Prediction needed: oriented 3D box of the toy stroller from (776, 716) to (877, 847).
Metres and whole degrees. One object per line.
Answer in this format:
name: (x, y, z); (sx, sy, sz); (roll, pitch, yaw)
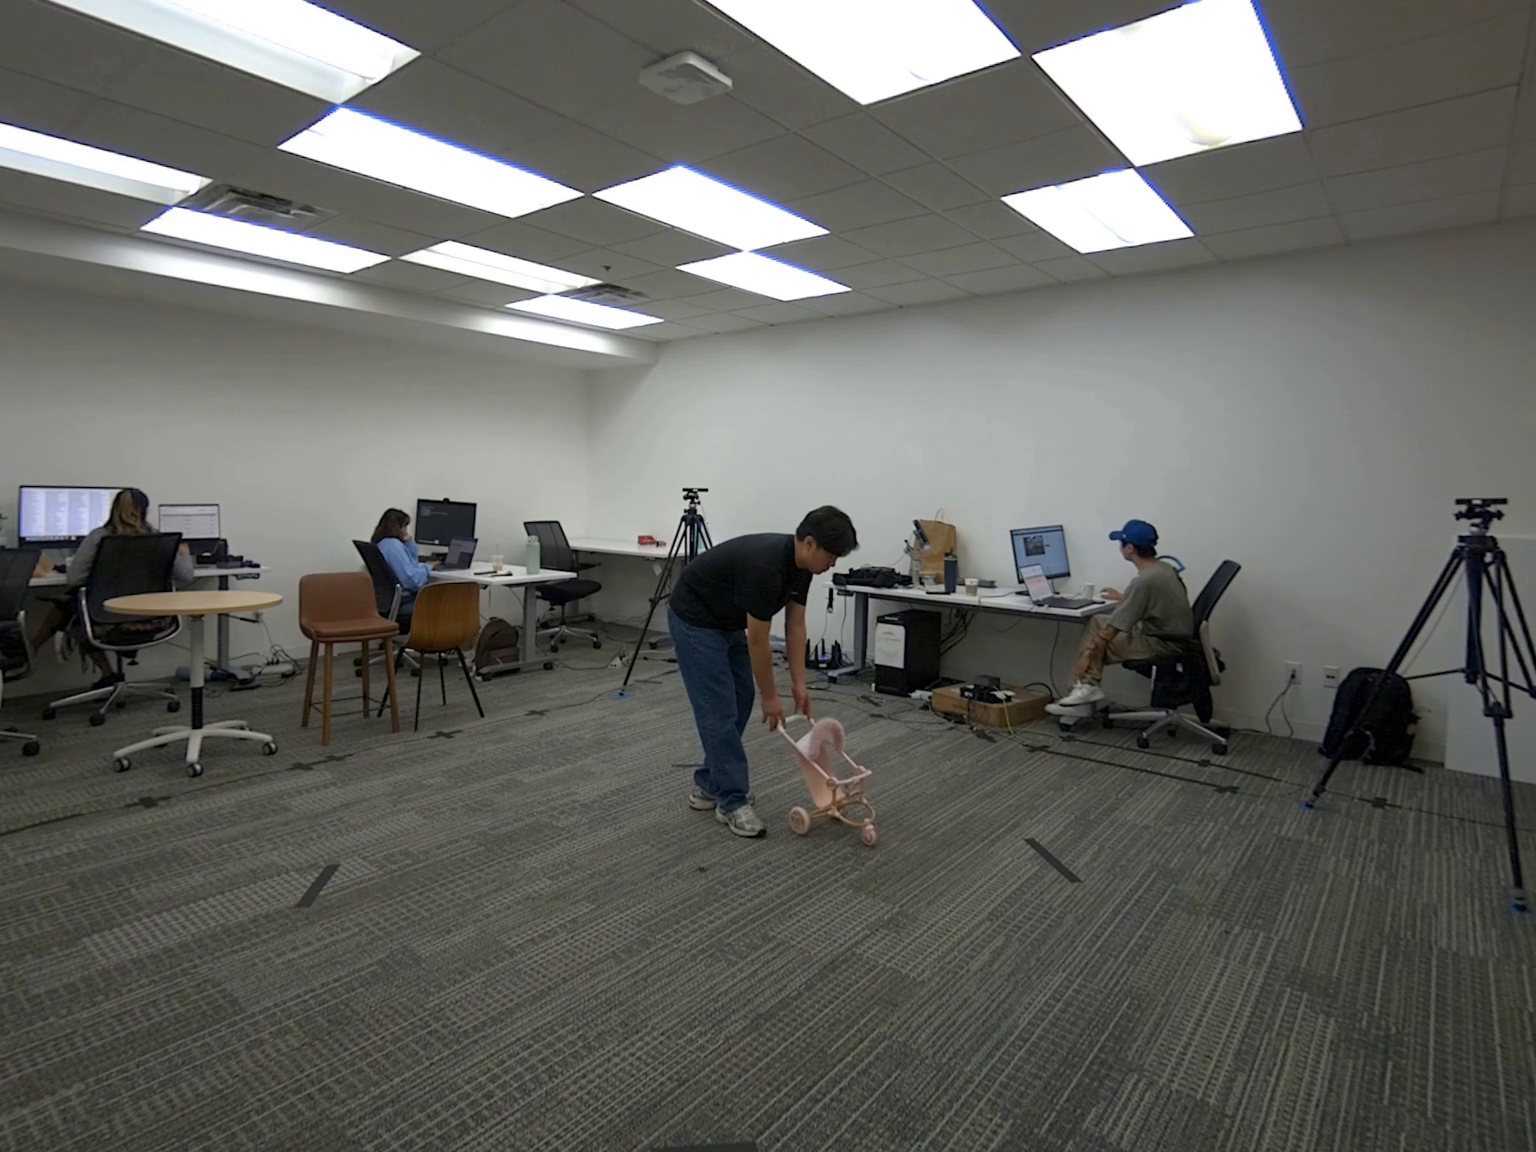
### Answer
toy stroller: (0.250, 0.819, 3.479); (0.273, 0.541, 0.348); (-4, -11, -42)
